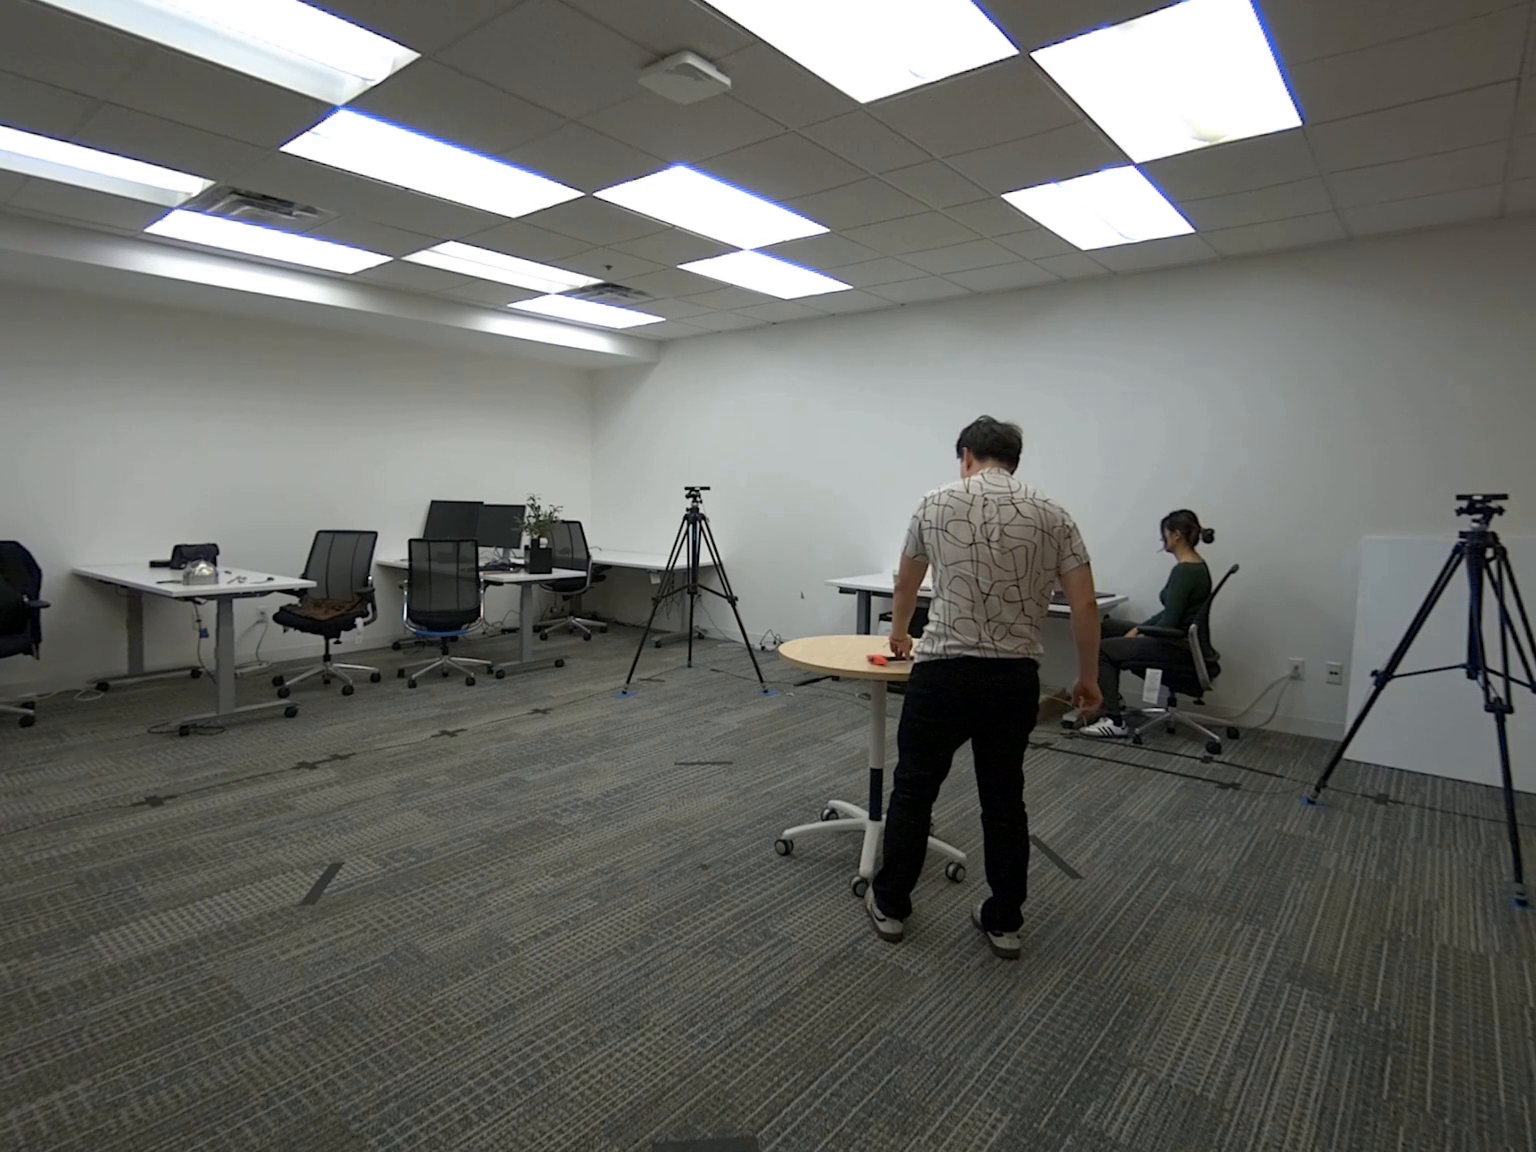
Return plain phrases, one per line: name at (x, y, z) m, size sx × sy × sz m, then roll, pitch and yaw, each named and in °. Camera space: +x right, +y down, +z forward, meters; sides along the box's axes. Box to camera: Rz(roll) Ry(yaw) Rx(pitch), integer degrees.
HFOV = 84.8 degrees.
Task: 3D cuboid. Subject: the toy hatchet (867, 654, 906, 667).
toy hatchet at (0.462, 0.289, 3.047) m, size 0.262 × 0.029 × 0.135 m, roll -2°, pitch 4°, yaw -40°
